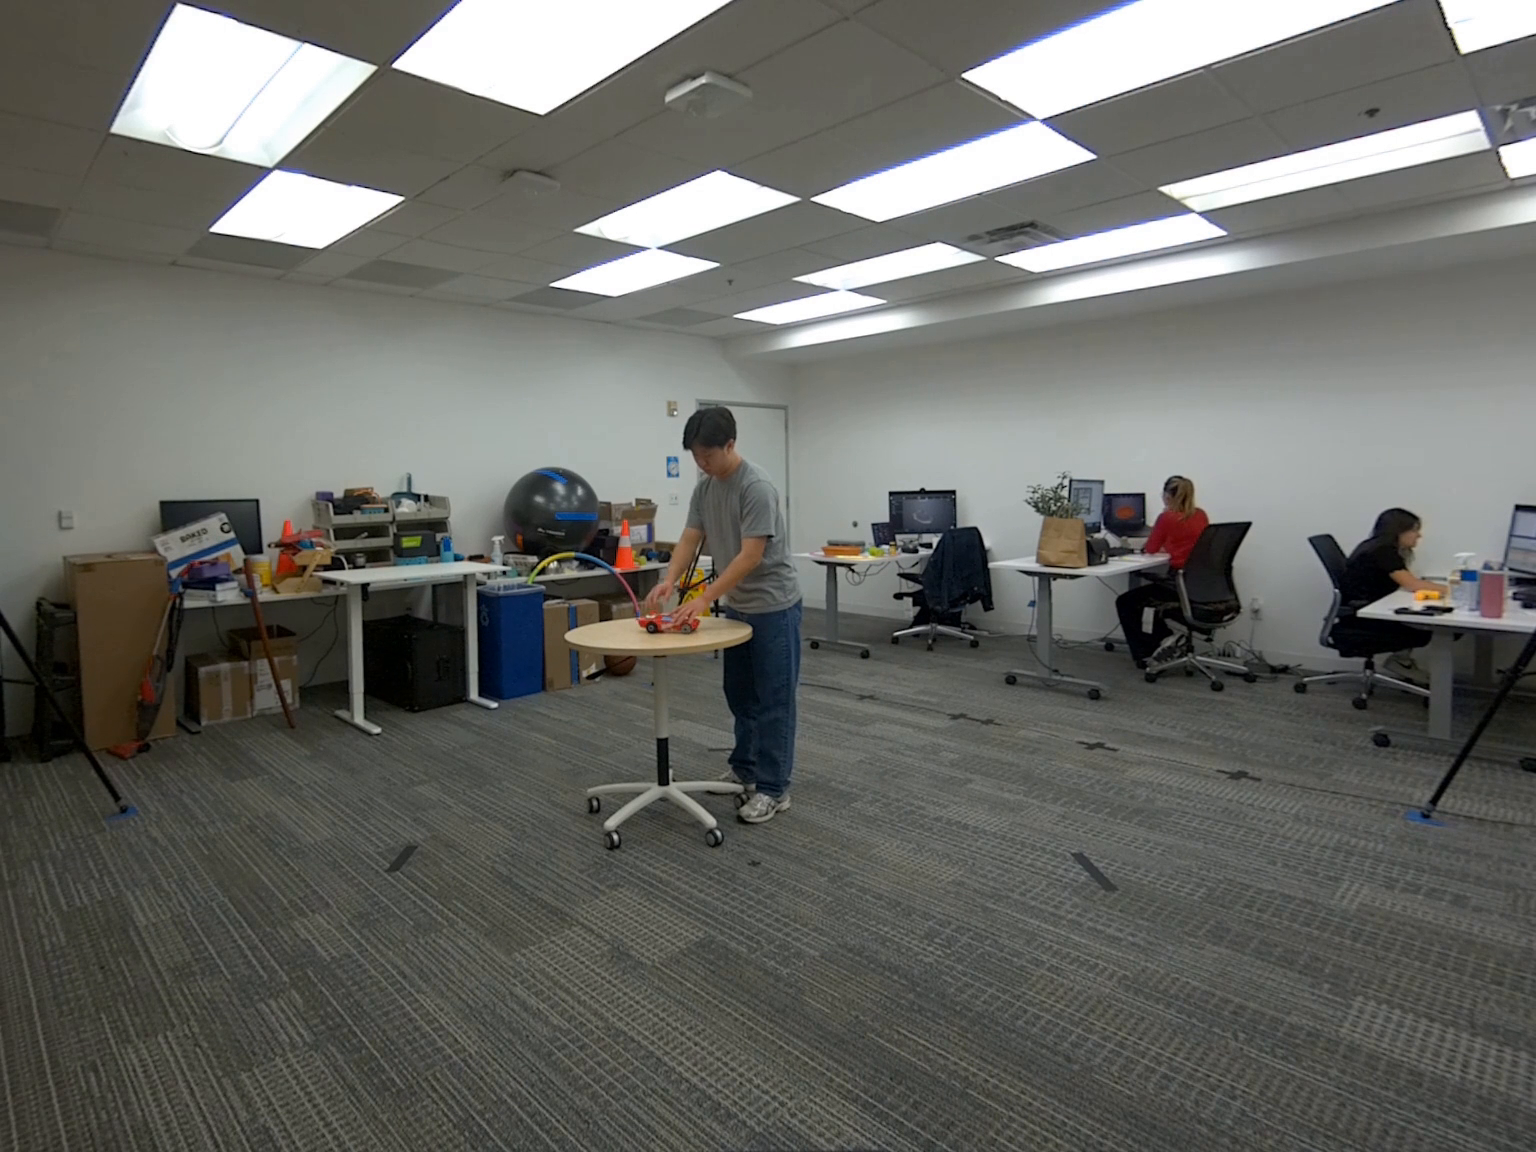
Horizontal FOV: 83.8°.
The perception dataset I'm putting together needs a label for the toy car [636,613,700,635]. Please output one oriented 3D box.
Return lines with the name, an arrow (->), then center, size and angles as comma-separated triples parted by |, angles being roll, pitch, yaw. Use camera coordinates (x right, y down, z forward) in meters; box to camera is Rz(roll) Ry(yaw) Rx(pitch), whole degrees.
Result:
toy car -> -0.414, 0.195, 3.474 | 0.258, 0.083, 0.129 | 13, 6, 10
